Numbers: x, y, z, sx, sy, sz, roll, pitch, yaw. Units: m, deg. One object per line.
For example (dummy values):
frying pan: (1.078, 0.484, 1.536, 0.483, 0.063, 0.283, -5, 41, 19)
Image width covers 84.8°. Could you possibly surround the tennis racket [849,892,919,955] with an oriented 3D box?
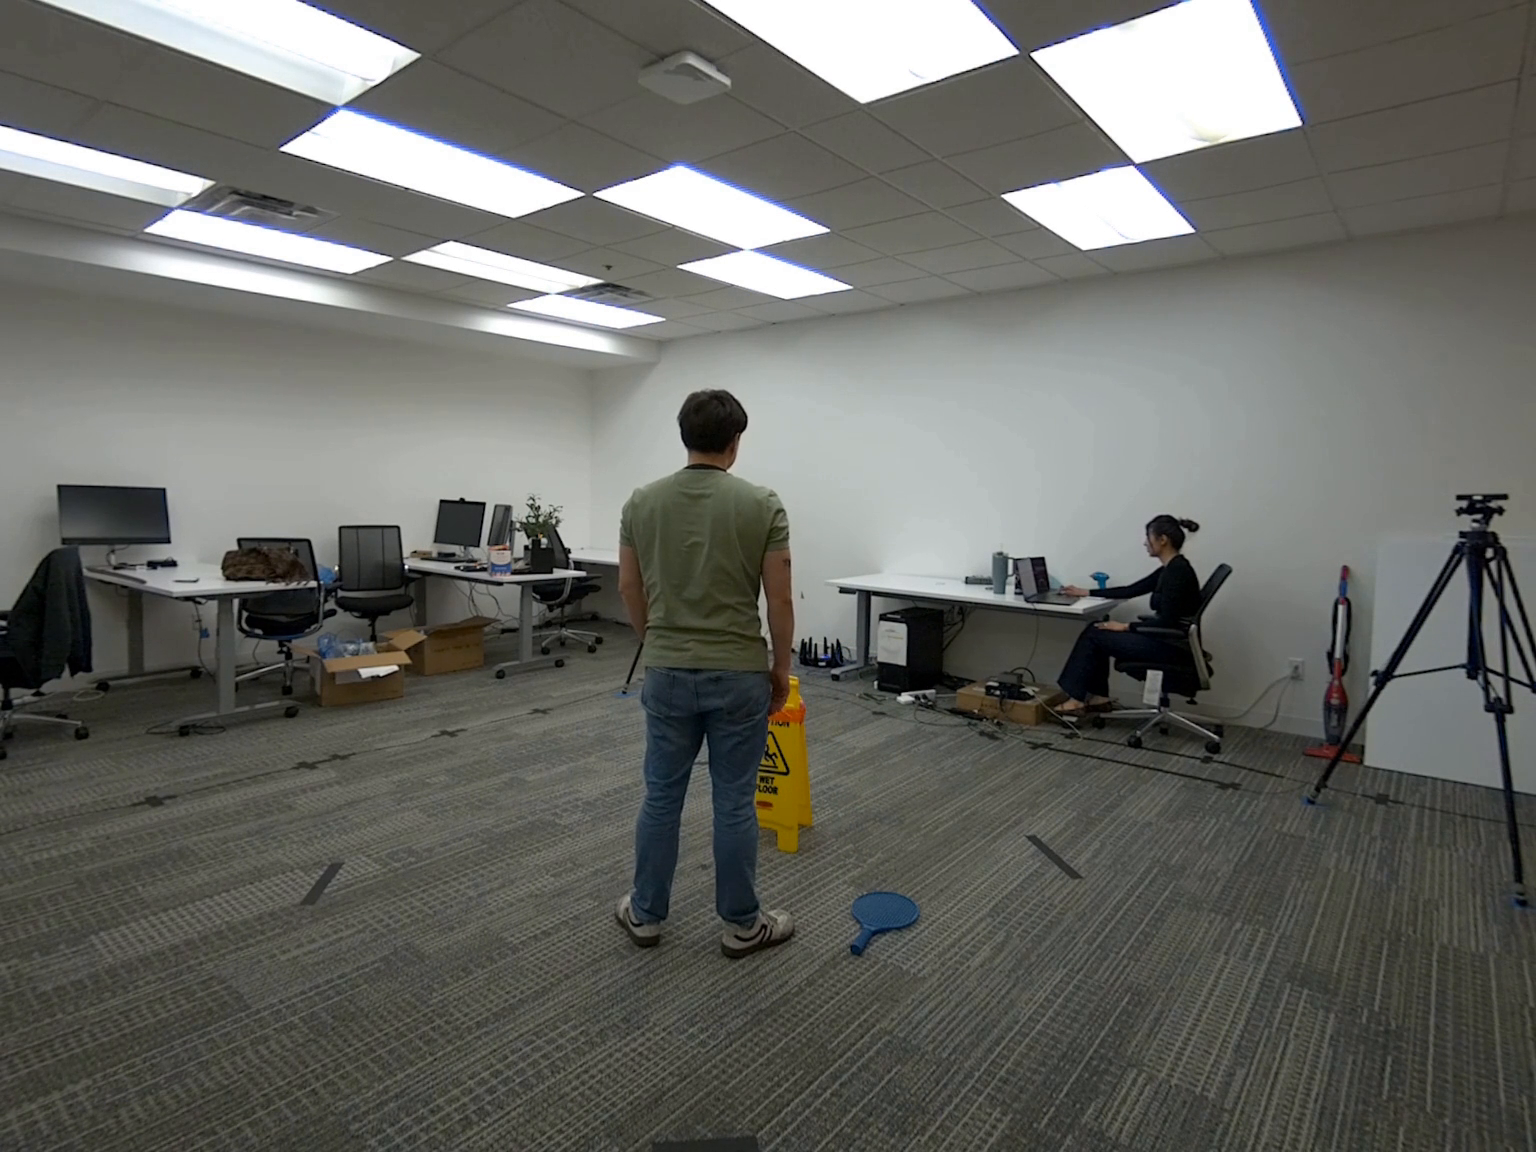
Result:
tennis racket: (0.341, 1.098, 2.734, 0.220, 0.031, 0.422, 4, 5, 28)
